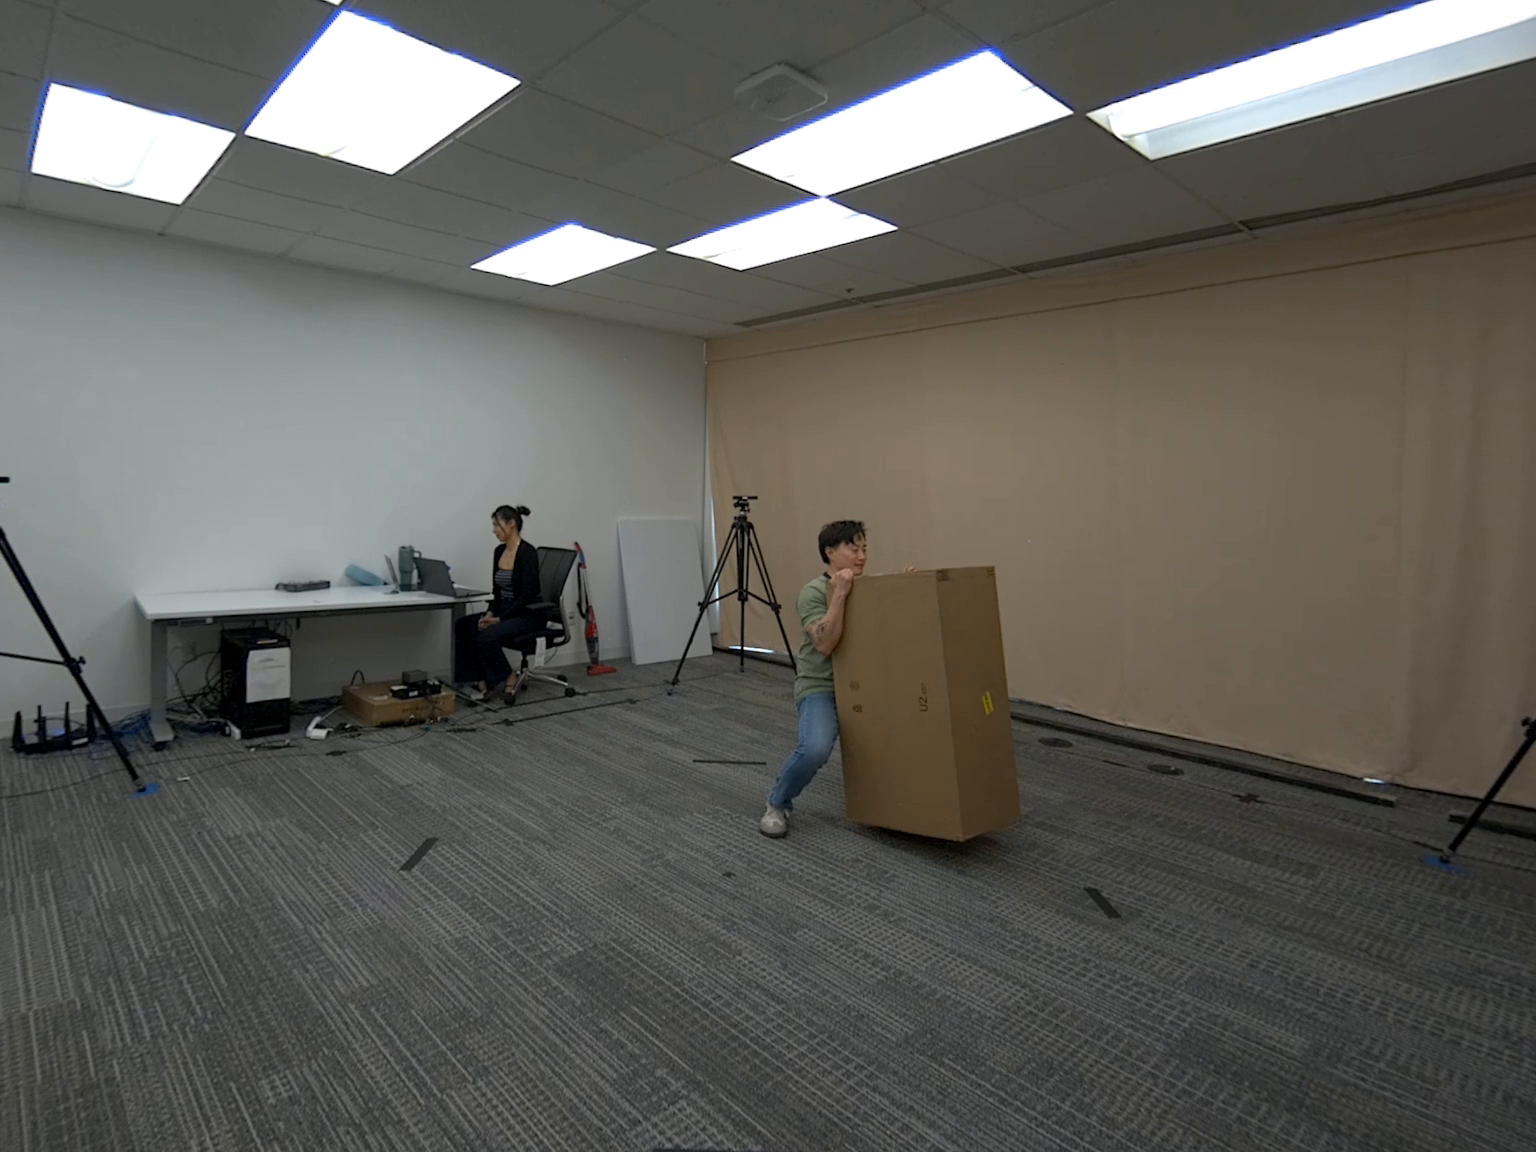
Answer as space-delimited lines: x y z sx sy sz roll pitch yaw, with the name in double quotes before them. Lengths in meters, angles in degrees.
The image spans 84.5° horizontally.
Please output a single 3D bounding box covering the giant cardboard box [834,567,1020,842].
"giant cardboard box" 0.632 0.498 3.518 0.416 1.029 0.589 -1 -5 -43
